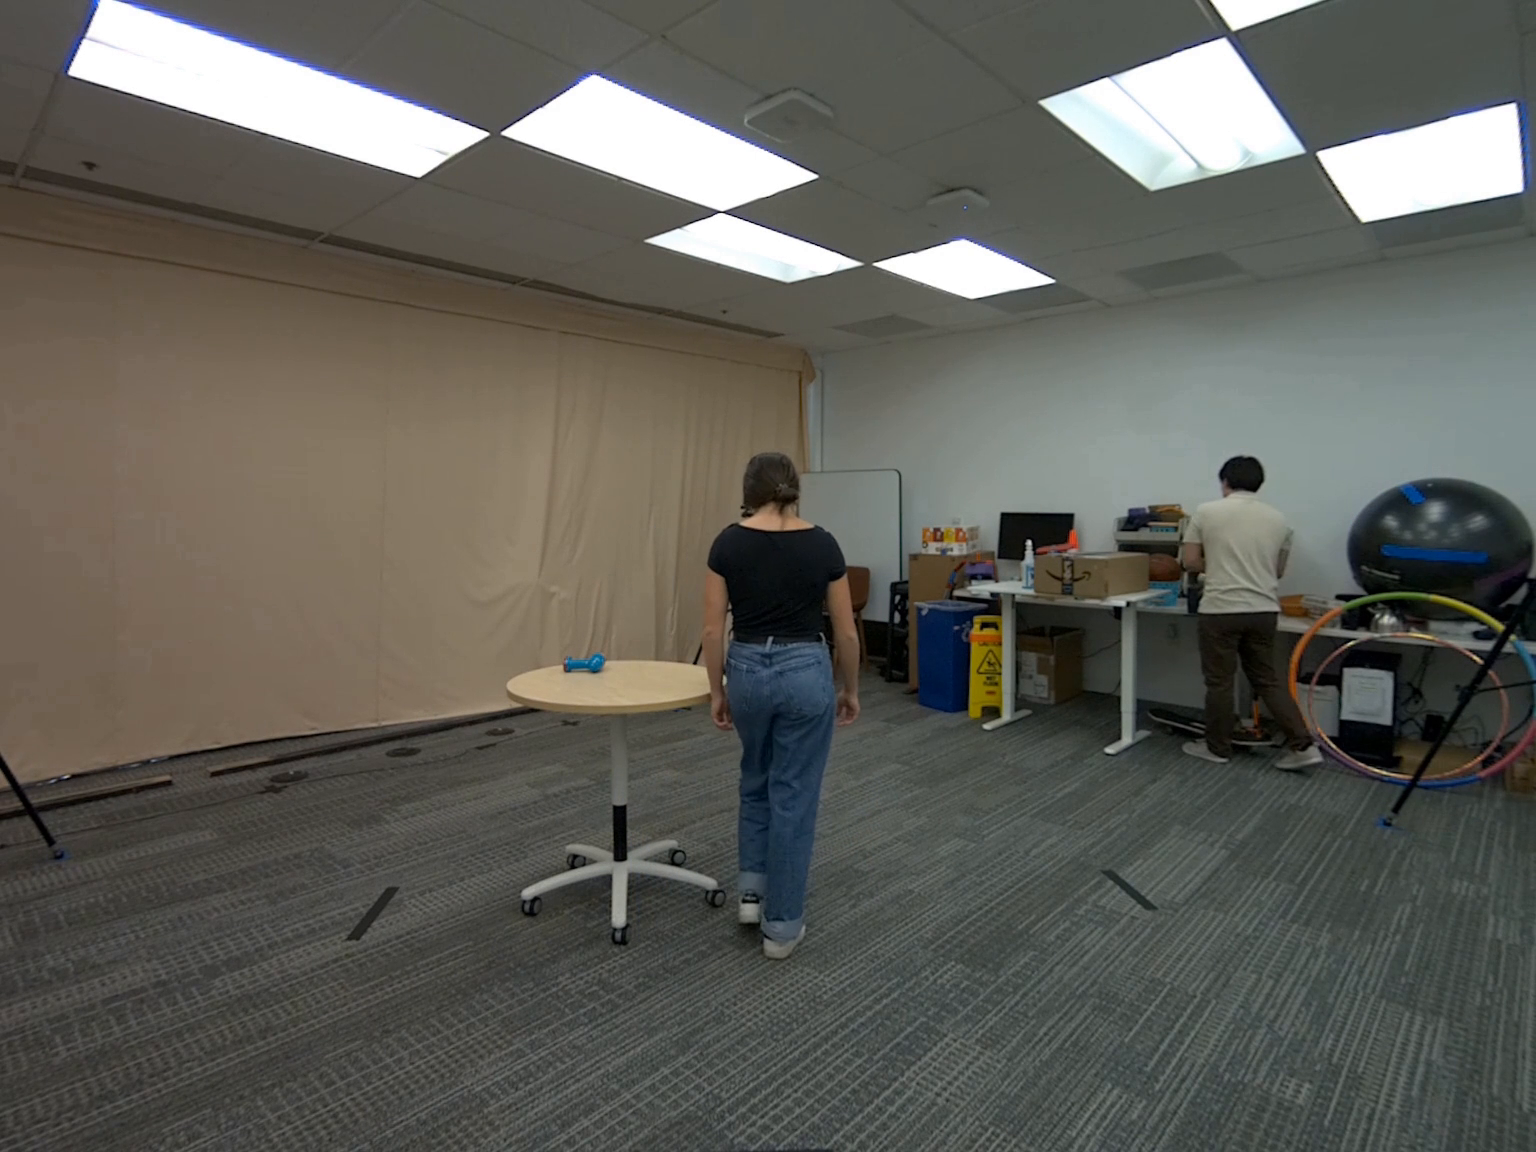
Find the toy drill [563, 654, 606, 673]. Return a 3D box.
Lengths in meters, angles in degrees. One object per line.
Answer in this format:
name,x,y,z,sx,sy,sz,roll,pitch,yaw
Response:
toy drill,-0.677,0.321,3.157,0.147,0.061,0.170,-1,12,5
